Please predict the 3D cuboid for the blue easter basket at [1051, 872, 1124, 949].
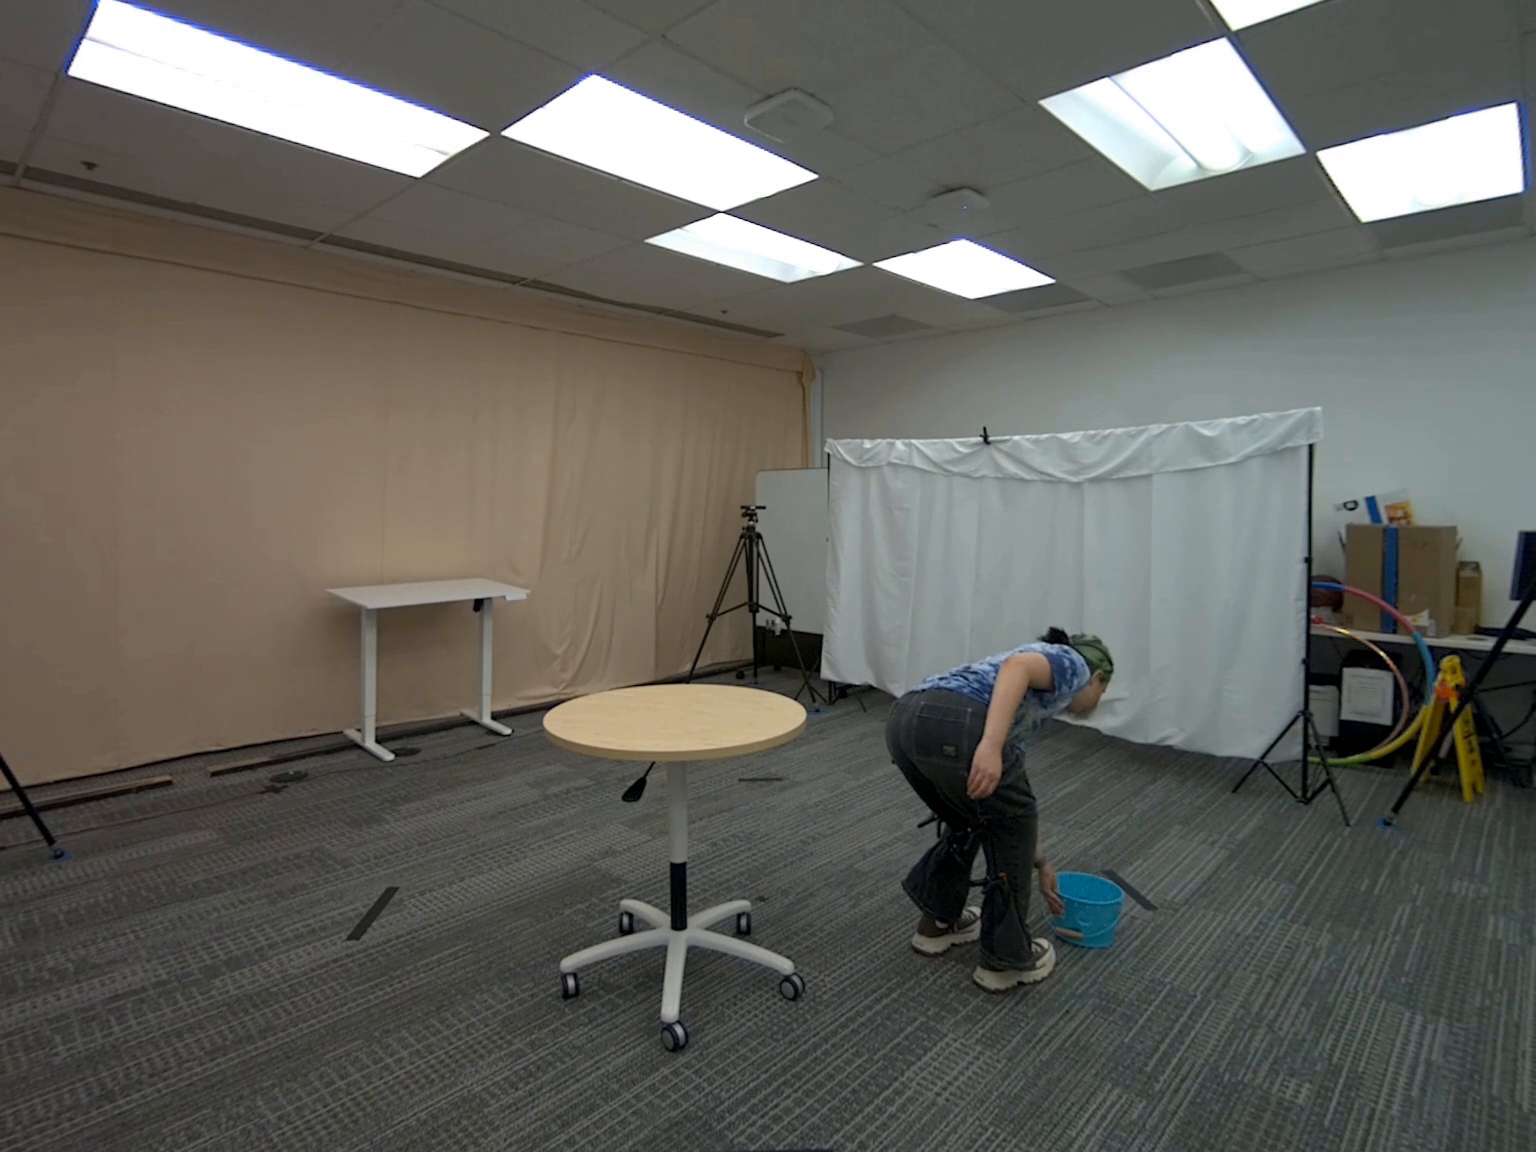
[{"bbox_3d":[1.033,1.083,2.730,0.243,0.156,0.244,3,2,-2],"label":"blue easter basket"}]
